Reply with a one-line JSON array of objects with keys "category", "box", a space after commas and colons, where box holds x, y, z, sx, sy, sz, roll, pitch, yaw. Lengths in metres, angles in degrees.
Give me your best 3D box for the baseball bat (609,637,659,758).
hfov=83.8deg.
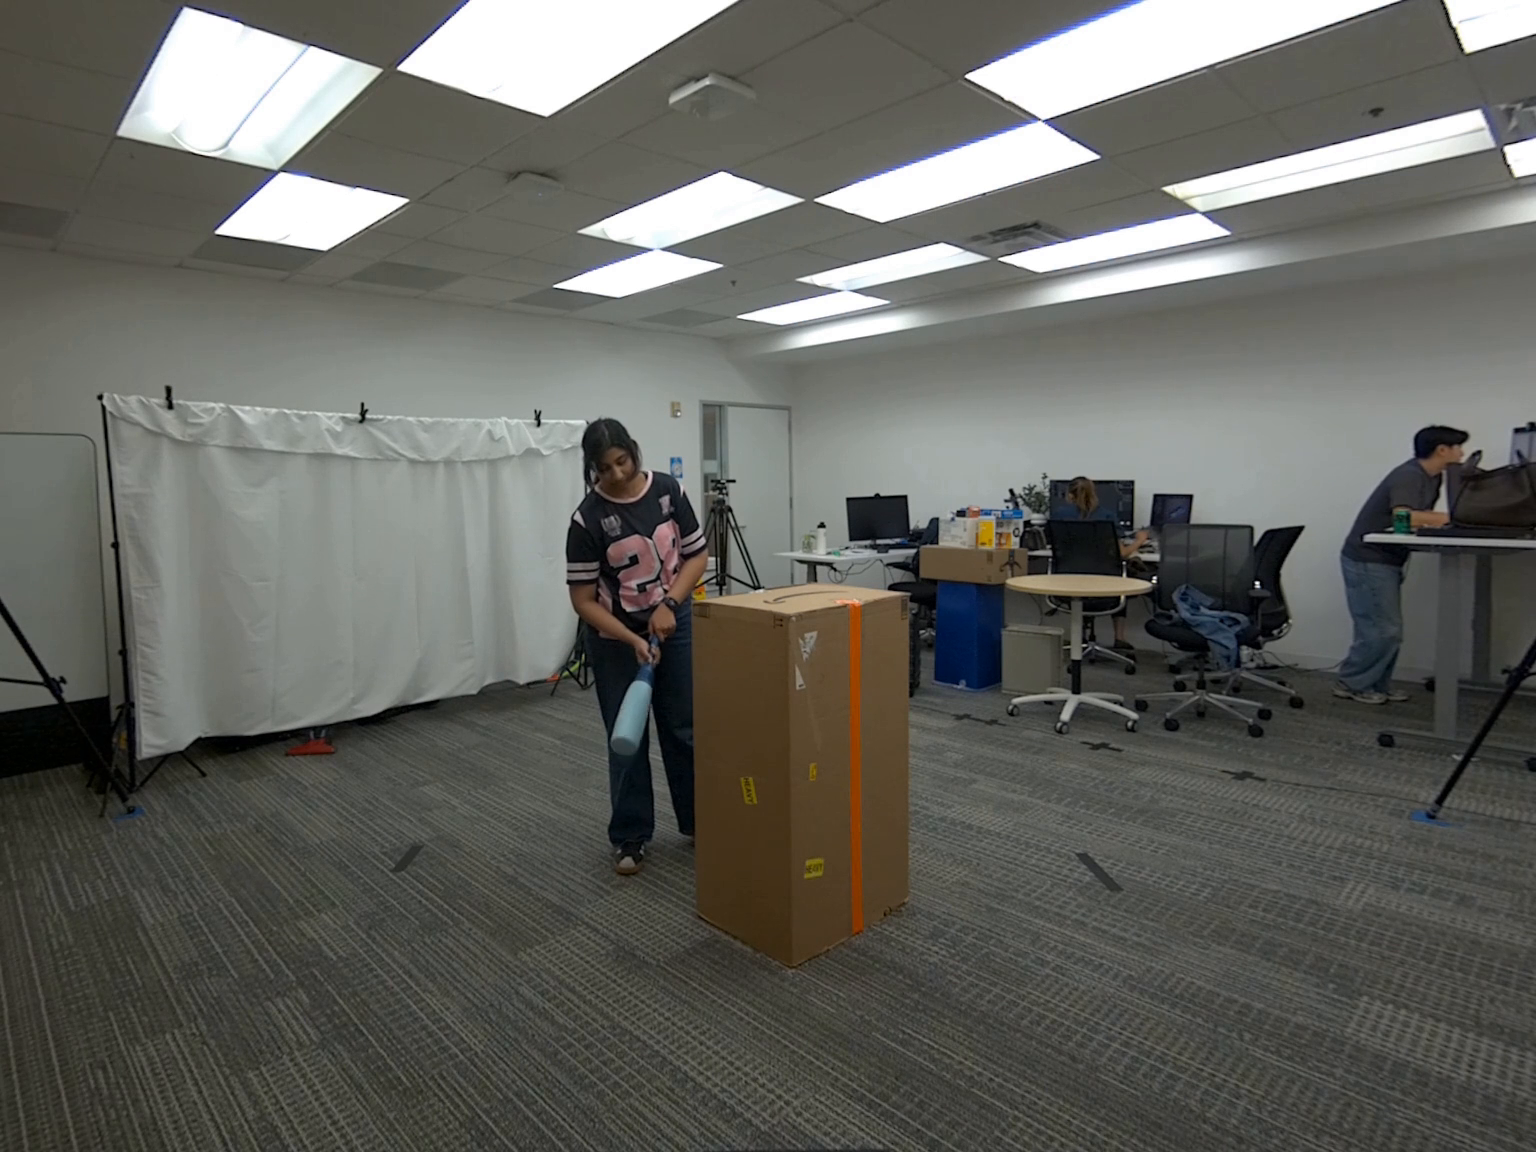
[{"category": "baseball bat", "box": [-0.415, 0.346, 2.767, 0.090, 0.086, 0.554, -1, 36, 7]}]
